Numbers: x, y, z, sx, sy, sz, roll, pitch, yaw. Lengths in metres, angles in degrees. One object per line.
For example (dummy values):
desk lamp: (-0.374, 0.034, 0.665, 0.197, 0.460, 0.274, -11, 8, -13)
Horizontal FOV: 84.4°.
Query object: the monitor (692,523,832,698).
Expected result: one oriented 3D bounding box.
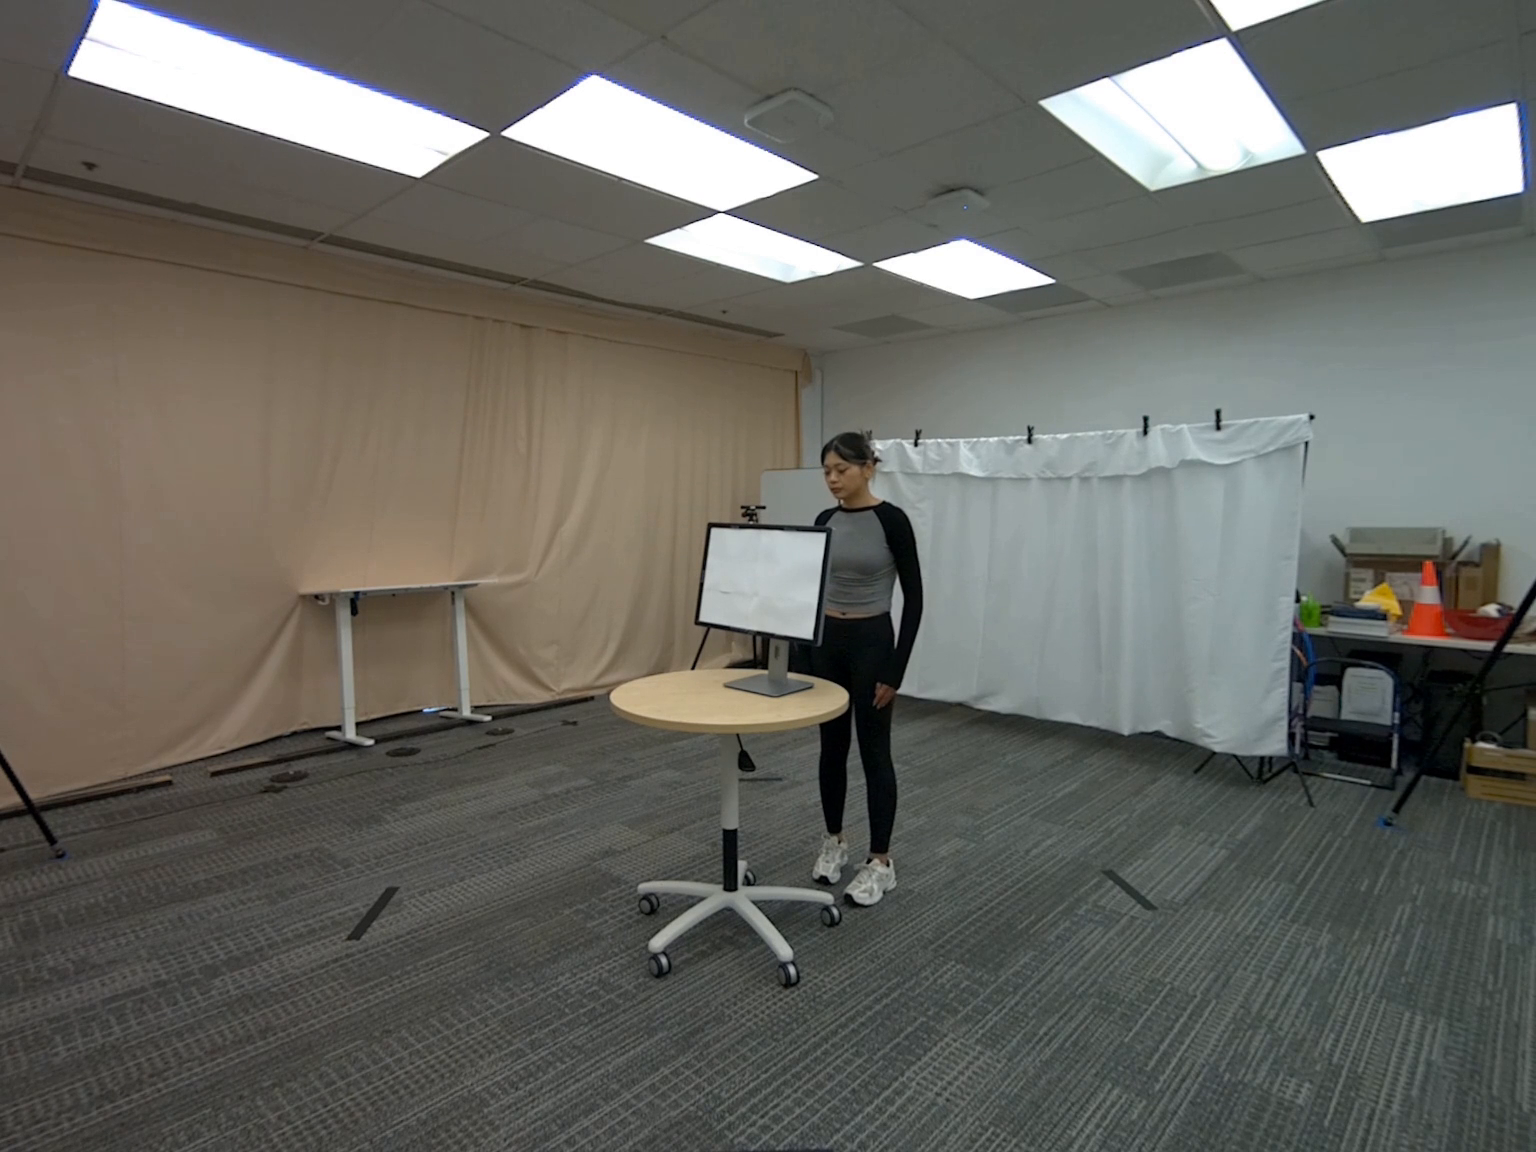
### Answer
monitor: (0.004, 0.104, 2.782, 0.557, 0.521, 0.181, 4, 7, 43)
